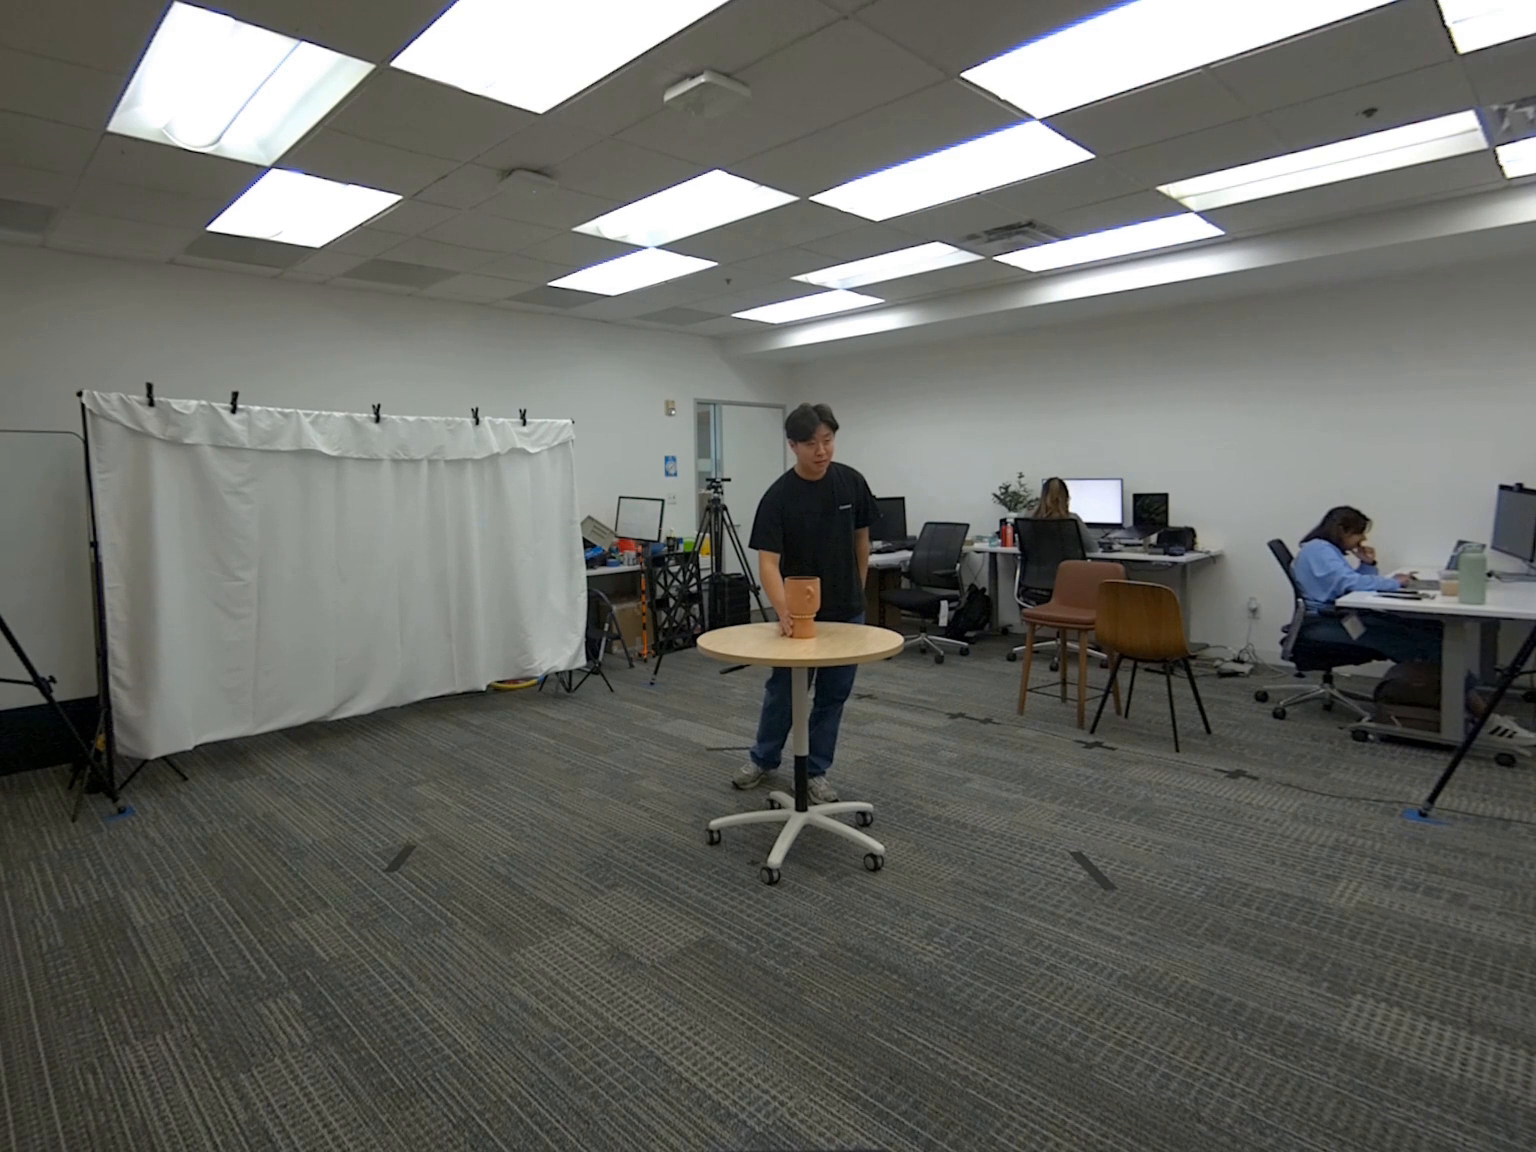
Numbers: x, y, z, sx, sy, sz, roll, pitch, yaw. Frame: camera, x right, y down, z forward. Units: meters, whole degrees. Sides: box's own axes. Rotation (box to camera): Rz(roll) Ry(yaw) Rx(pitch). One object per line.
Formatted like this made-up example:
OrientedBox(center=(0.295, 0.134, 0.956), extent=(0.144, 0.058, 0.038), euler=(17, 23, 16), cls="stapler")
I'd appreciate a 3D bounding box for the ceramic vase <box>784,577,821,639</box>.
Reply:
OrientedBox(center=(0.126, 0.121, 3.222), extent=(0.137, 0.219, 0.156), euler=(0, 5, 21), cls="ceramic vase")
